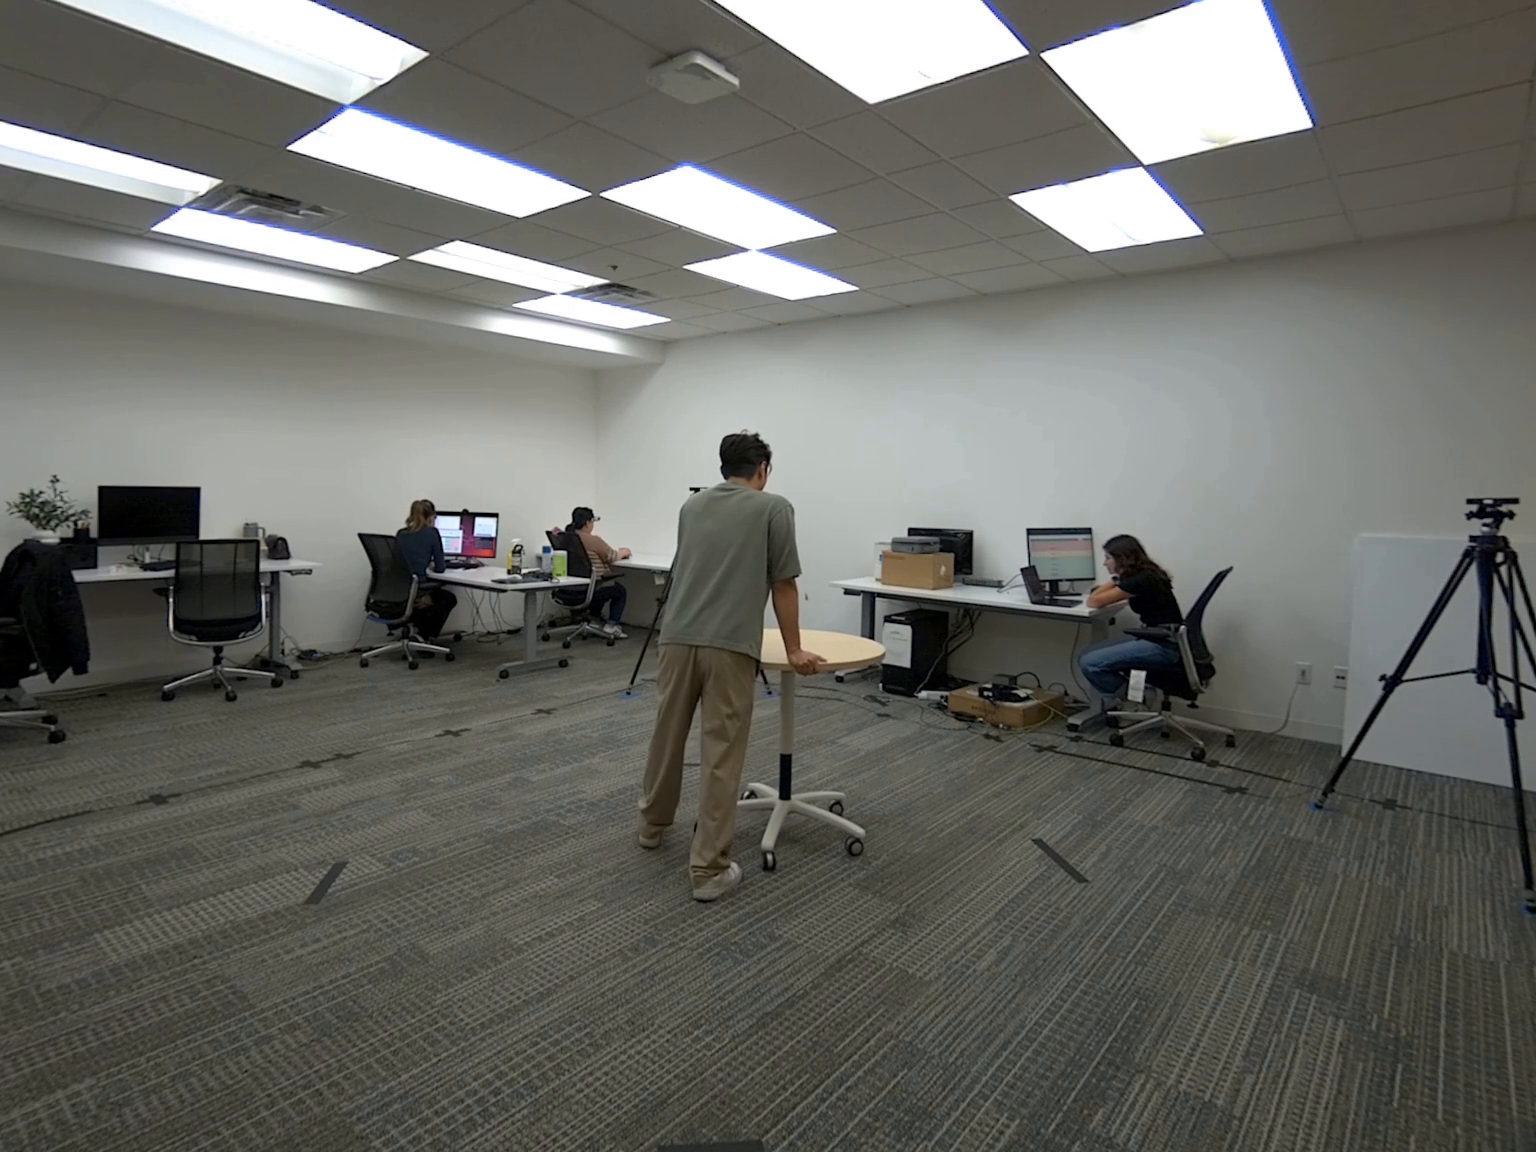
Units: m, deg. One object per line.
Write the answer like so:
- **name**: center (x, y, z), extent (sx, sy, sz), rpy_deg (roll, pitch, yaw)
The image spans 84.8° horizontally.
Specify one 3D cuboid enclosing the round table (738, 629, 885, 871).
- **round table**: center (0.075, 0.654, 3.422), extent (0.784, 0.784, 0.789), rpy_deg (1, 4, -2)
